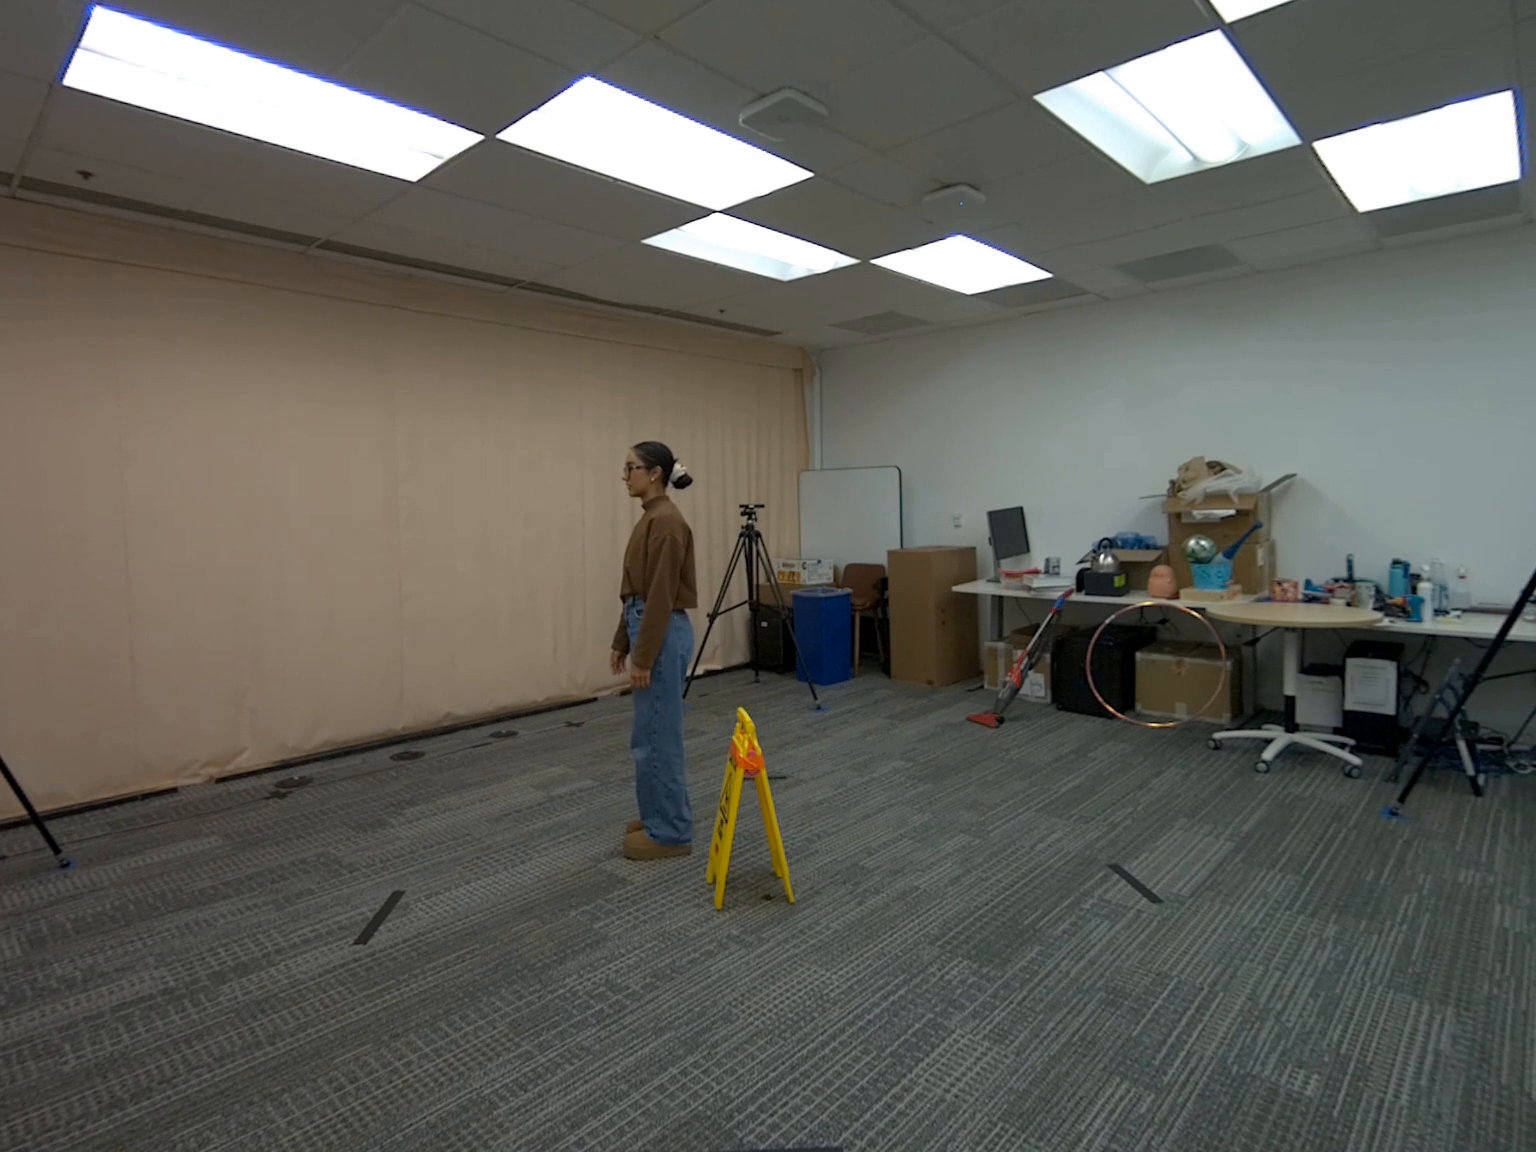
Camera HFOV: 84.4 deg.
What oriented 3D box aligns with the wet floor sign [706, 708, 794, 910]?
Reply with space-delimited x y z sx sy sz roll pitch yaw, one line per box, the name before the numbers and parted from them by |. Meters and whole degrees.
wet floor sign | -0.075 0.812 3.027 0.287 0.645 0.285 -2 2 -10
